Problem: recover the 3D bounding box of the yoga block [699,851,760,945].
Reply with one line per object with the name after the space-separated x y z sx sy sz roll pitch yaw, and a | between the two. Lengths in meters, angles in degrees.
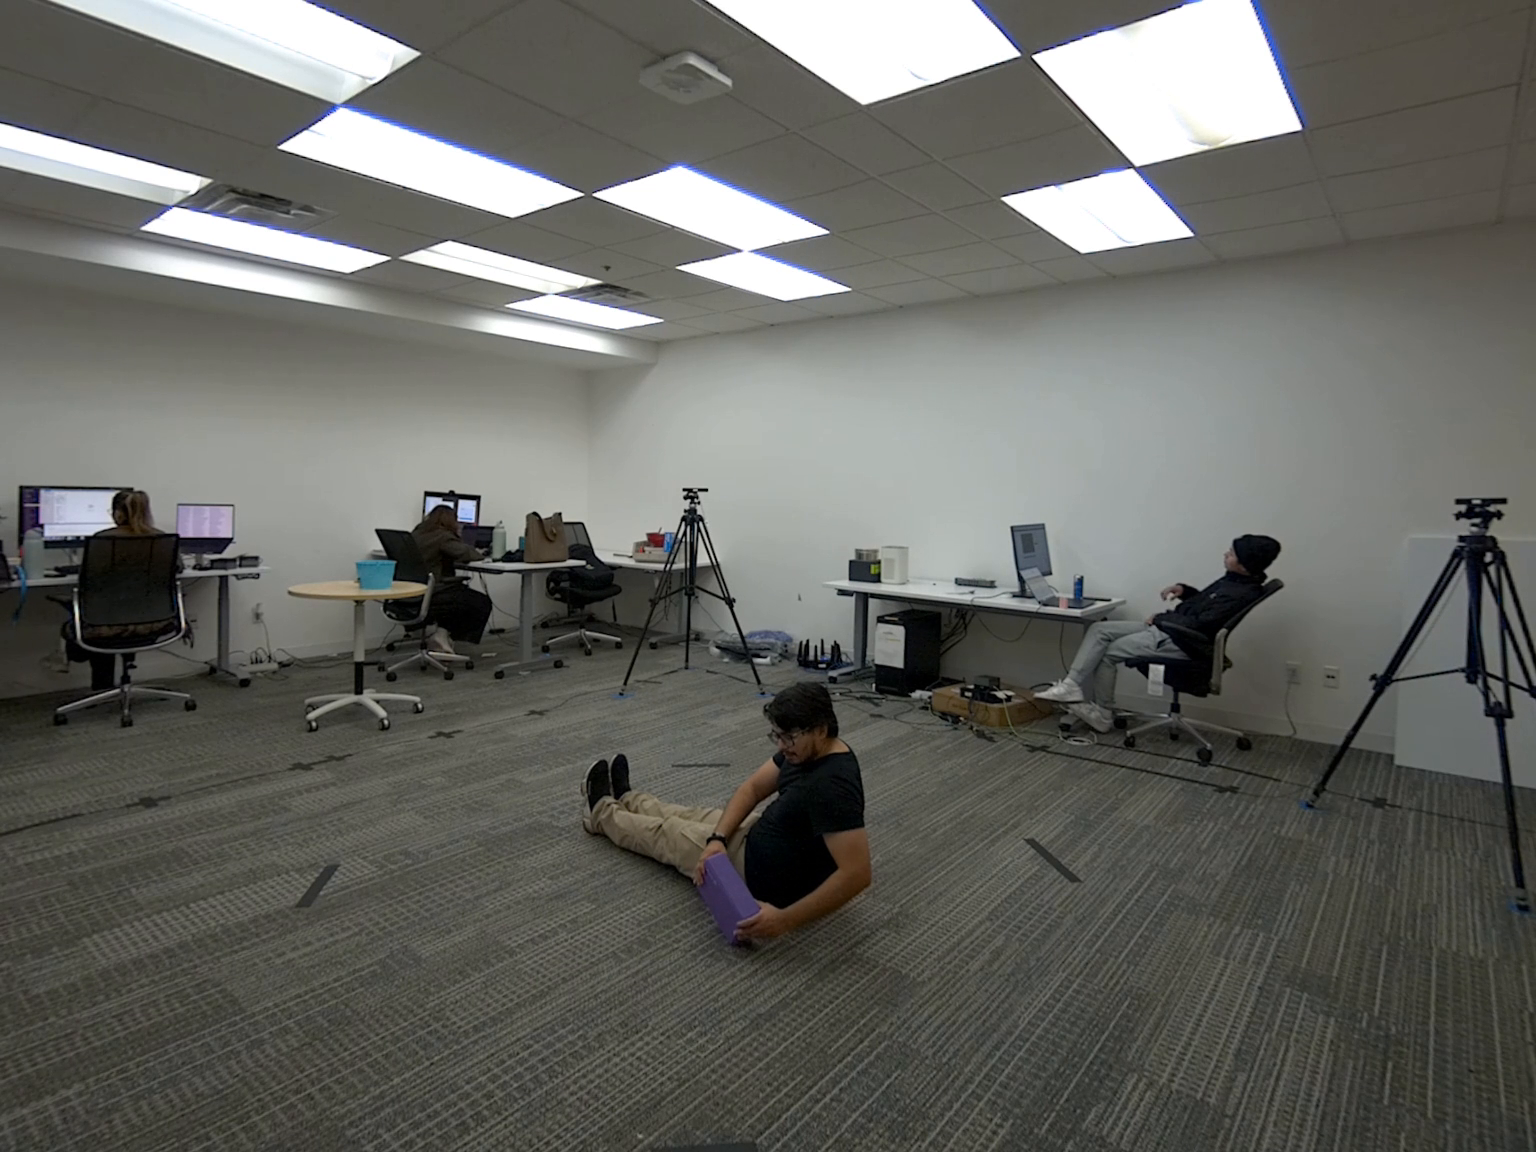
-0.122 1.002 2.638 0.075 0.146 0.239 -3 33 -22 | yoga block
